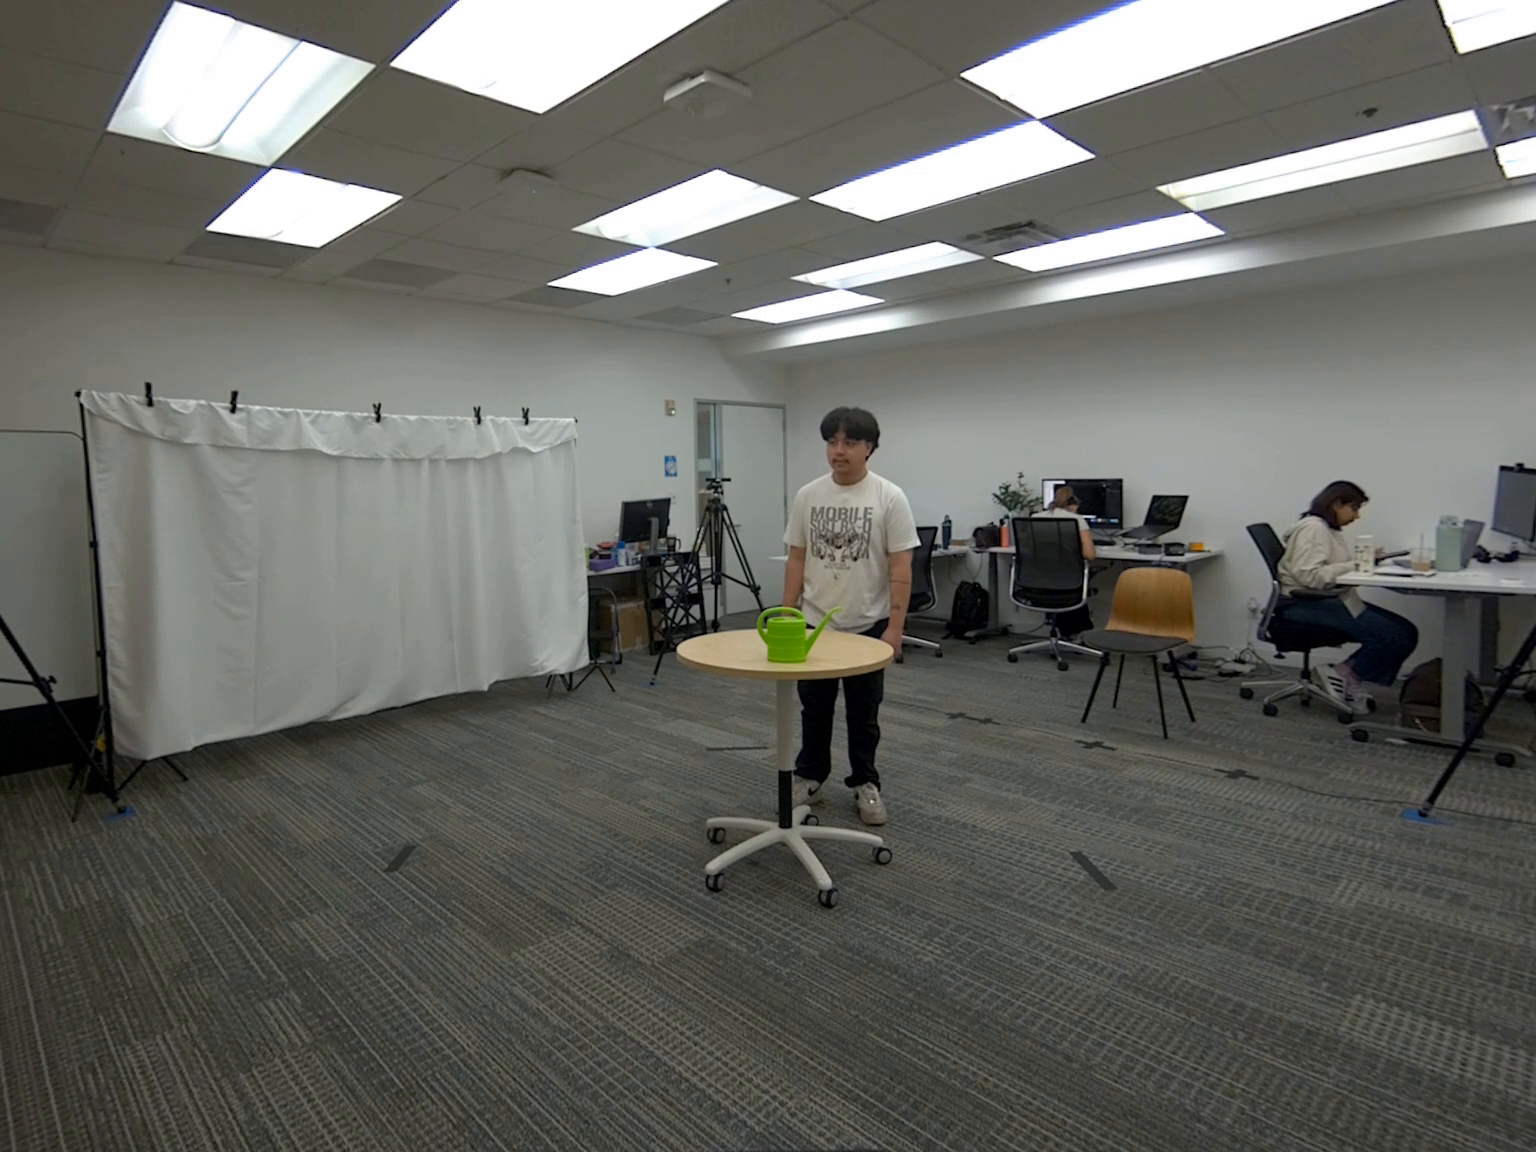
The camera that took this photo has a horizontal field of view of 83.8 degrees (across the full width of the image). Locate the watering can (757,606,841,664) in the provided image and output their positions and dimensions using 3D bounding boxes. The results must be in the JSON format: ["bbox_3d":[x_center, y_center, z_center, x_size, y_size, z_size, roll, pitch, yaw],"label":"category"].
[{"bbox_3d":[0.114,0.193,2.815,0.284,0.176,0.096,0,2,21],"label":"watering can"}]
